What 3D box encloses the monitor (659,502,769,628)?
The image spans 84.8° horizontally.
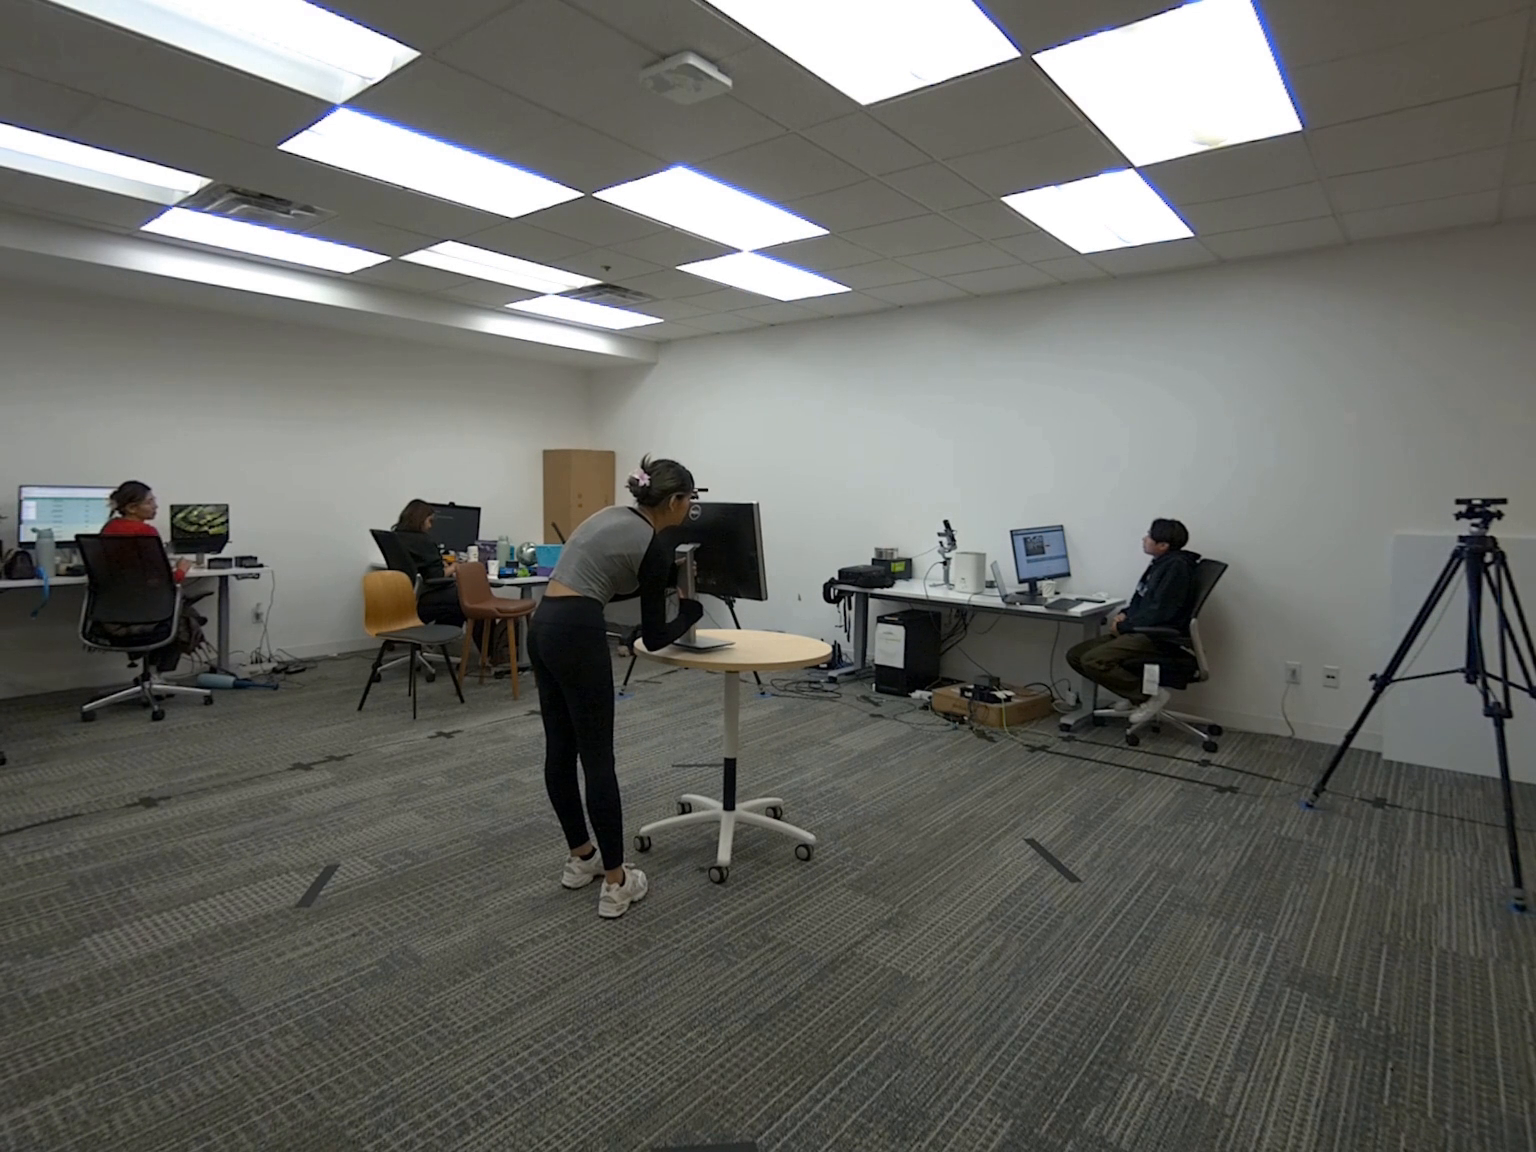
[{"bbox_3d":[-0.274,-0.013,3.201,0.557,0.522,0.181,4,2,39],"label":"monitor"}]
